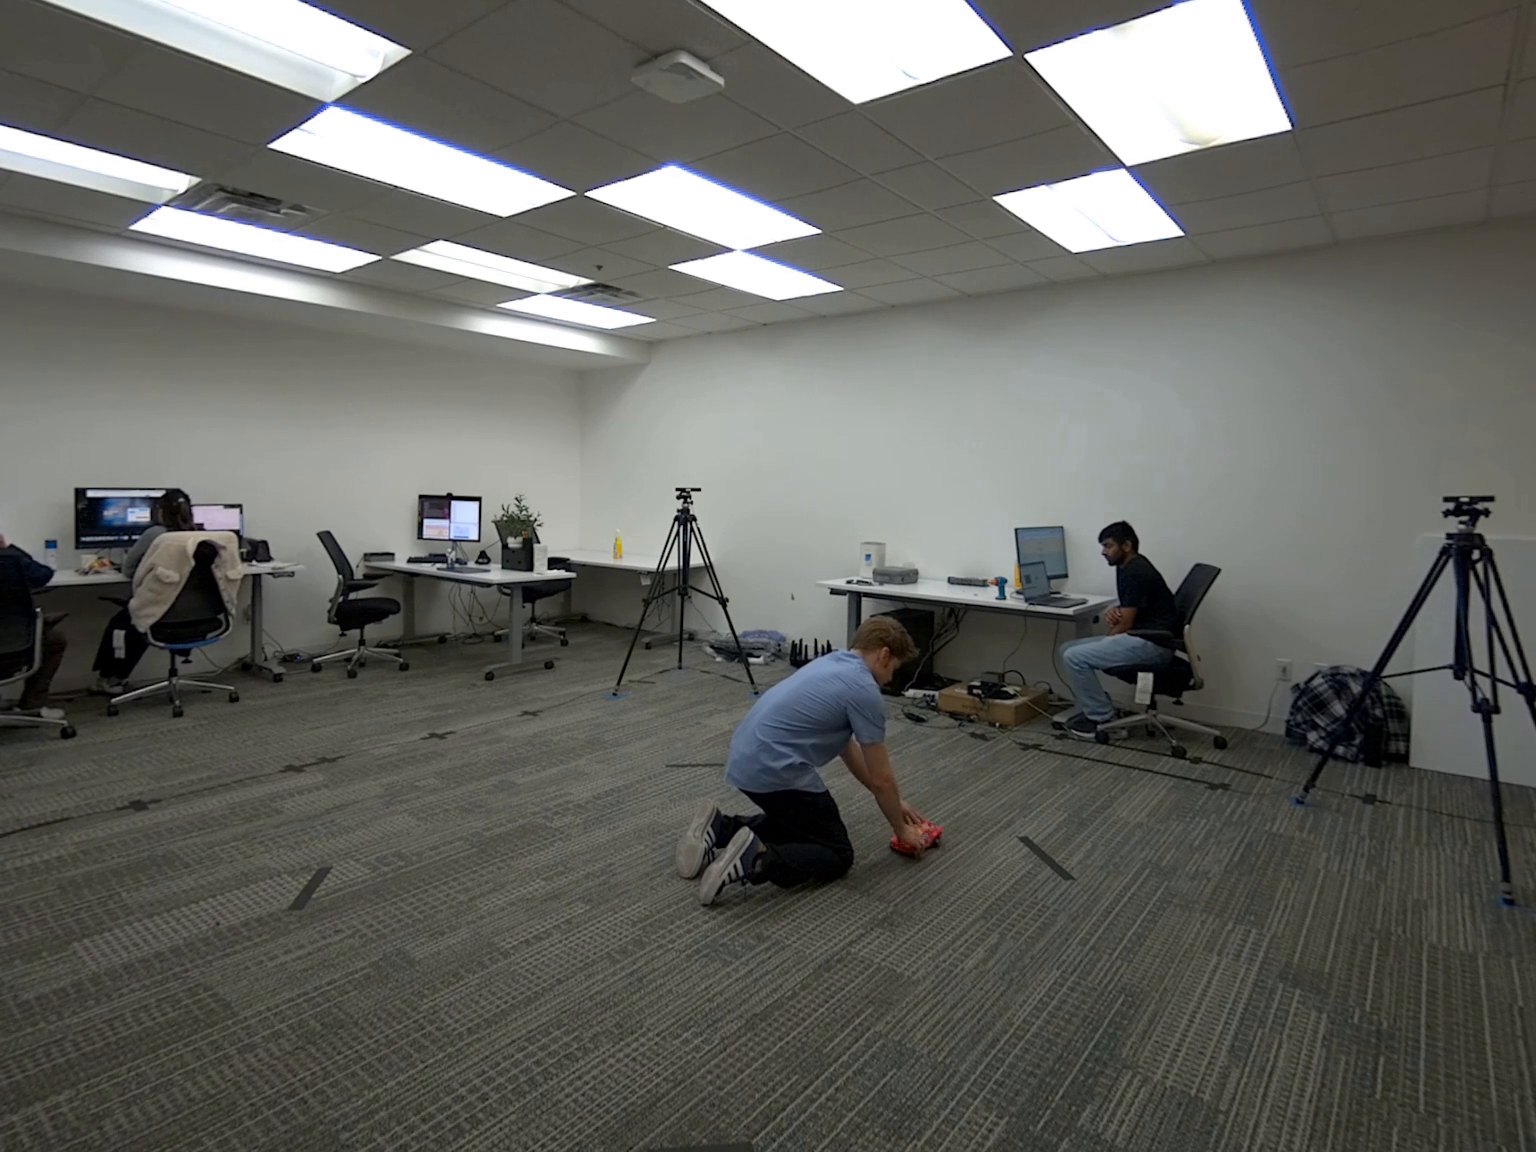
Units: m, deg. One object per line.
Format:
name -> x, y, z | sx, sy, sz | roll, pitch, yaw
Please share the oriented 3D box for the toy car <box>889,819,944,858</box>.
toy car -> 0.579, 1.035, 3.339 | 0.135, 0.082, 0.249 | 5, 18, 44
